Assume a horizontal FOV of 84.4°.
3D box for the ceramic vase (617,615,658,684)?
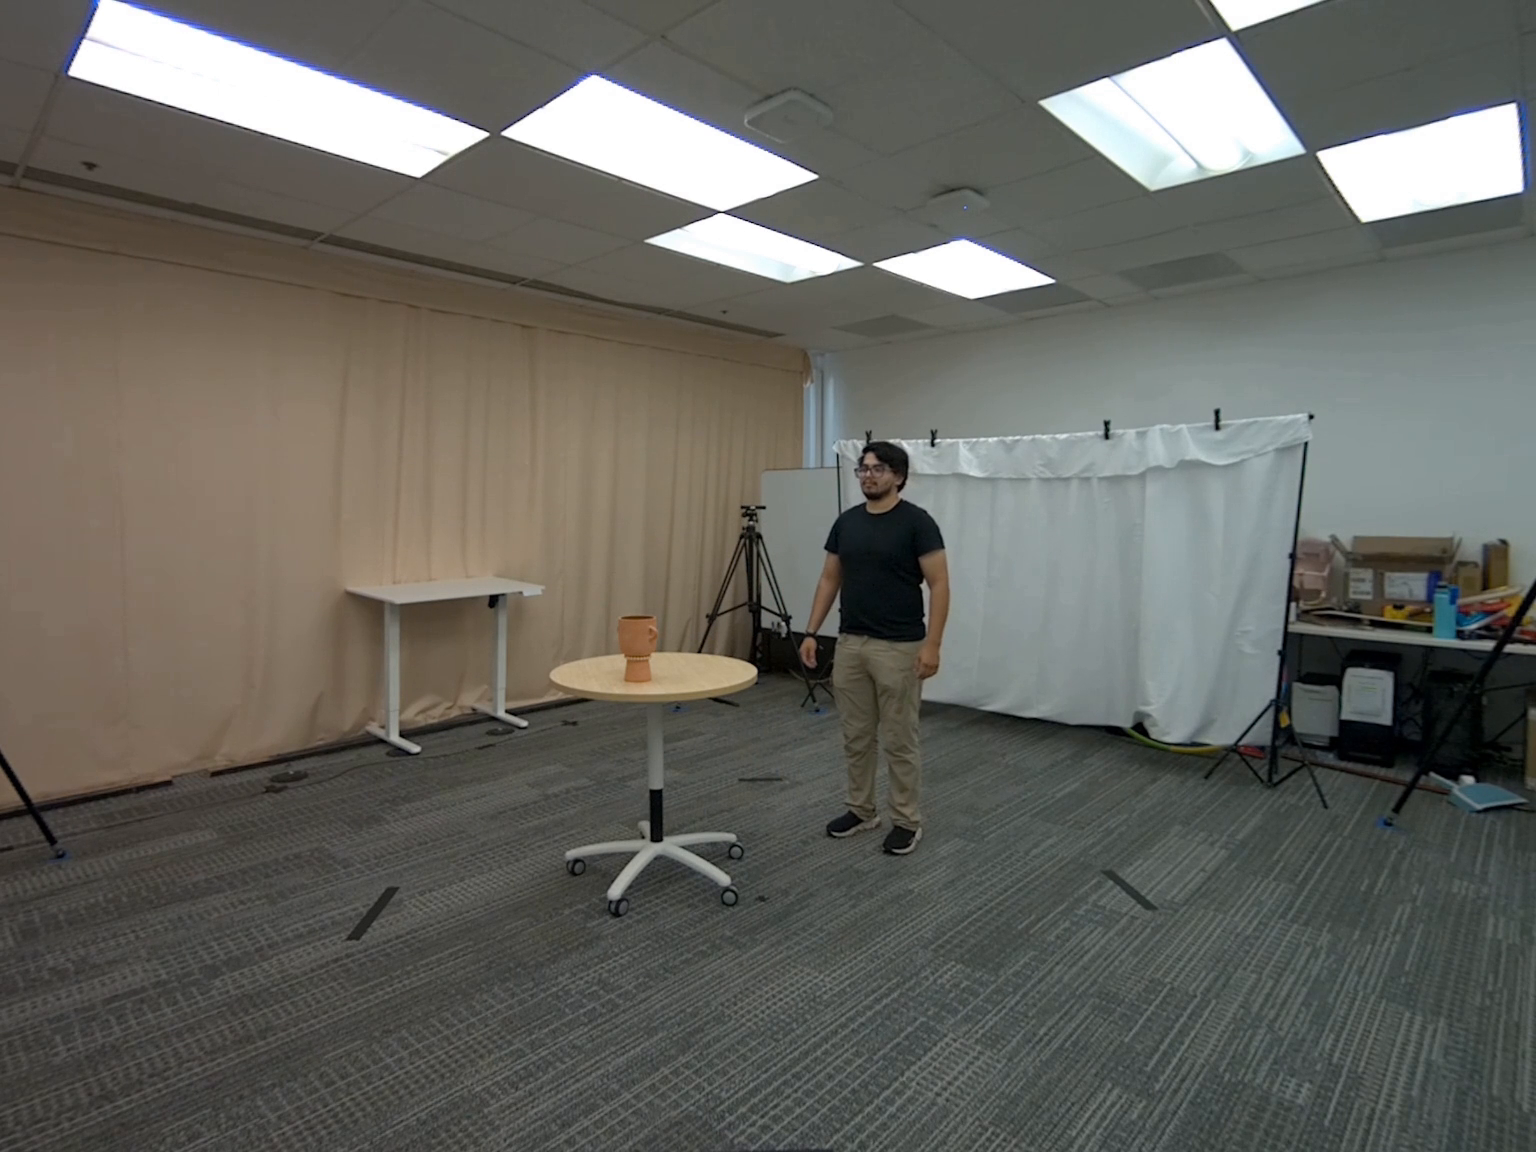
[{"bbox_3d":[-0.458,0.258,2.965,0.133,0.219,0.161,-1,4,-14],"label":"ceramic vase"}]
